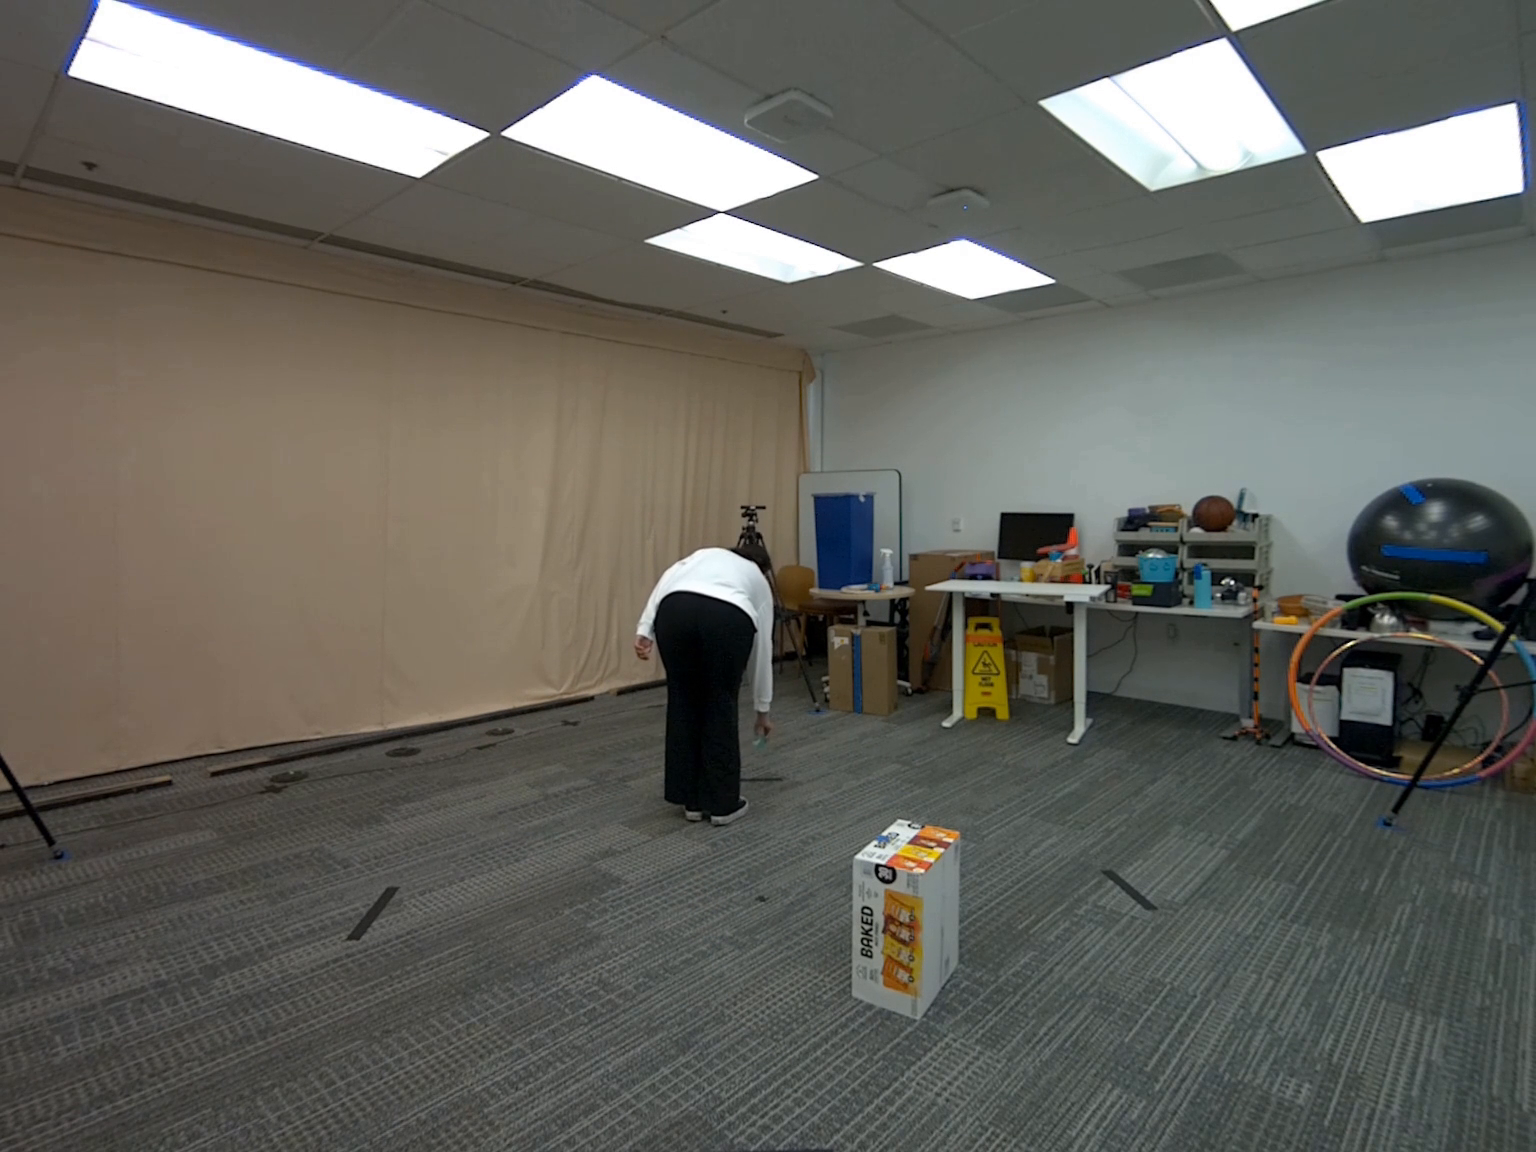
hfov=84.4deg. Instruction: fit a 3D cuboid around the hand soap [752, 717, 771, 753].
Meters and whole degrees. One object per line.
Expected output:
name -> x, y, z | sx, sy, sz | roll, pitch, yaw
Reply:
hand soap -> -0.035, 0.765, 4.113 | 0.044, 0.169, 0.082 | 2, -15, 21
